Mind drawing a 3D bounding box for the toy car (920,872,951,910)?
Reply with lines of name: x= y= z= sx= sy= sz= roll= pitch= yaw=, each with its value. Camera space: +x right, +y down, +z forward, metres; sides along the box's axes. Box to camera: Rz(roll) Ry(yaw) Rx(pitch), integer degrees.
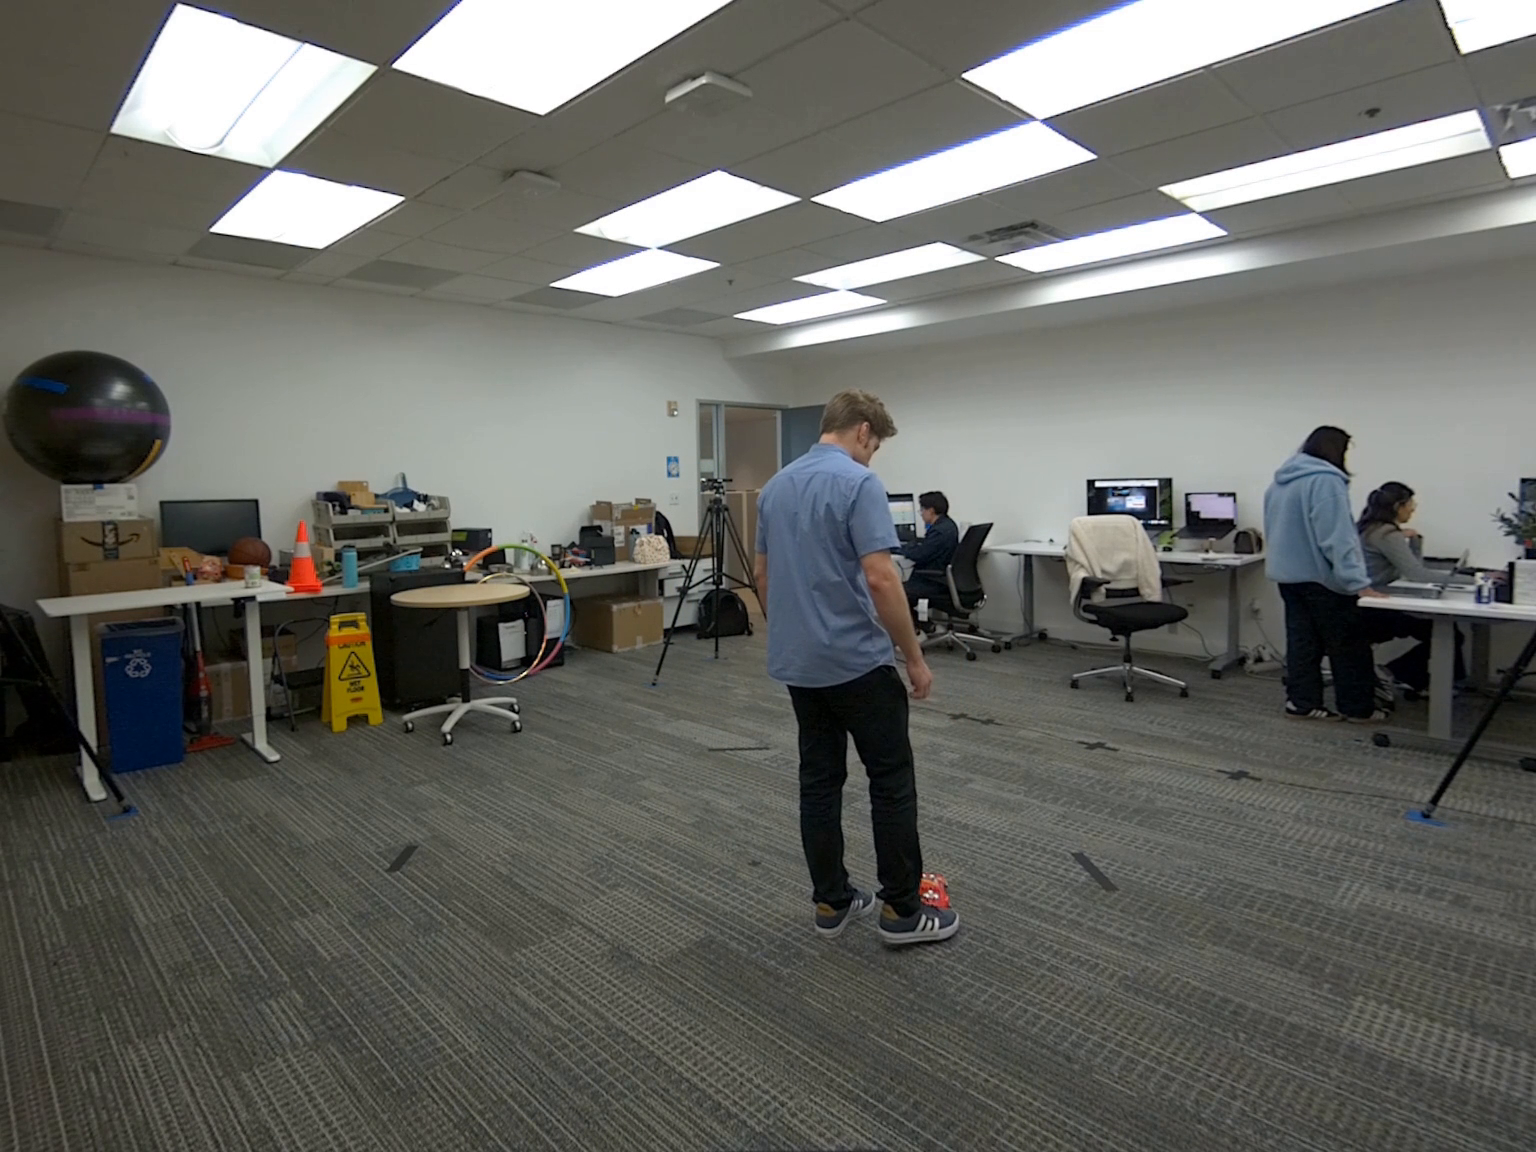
toy car: x=0.535 y=1.041 z=2.793 sx=0.131 sy=0.083 sz=0.251 roll=1 pitch=-4 yaw=7
